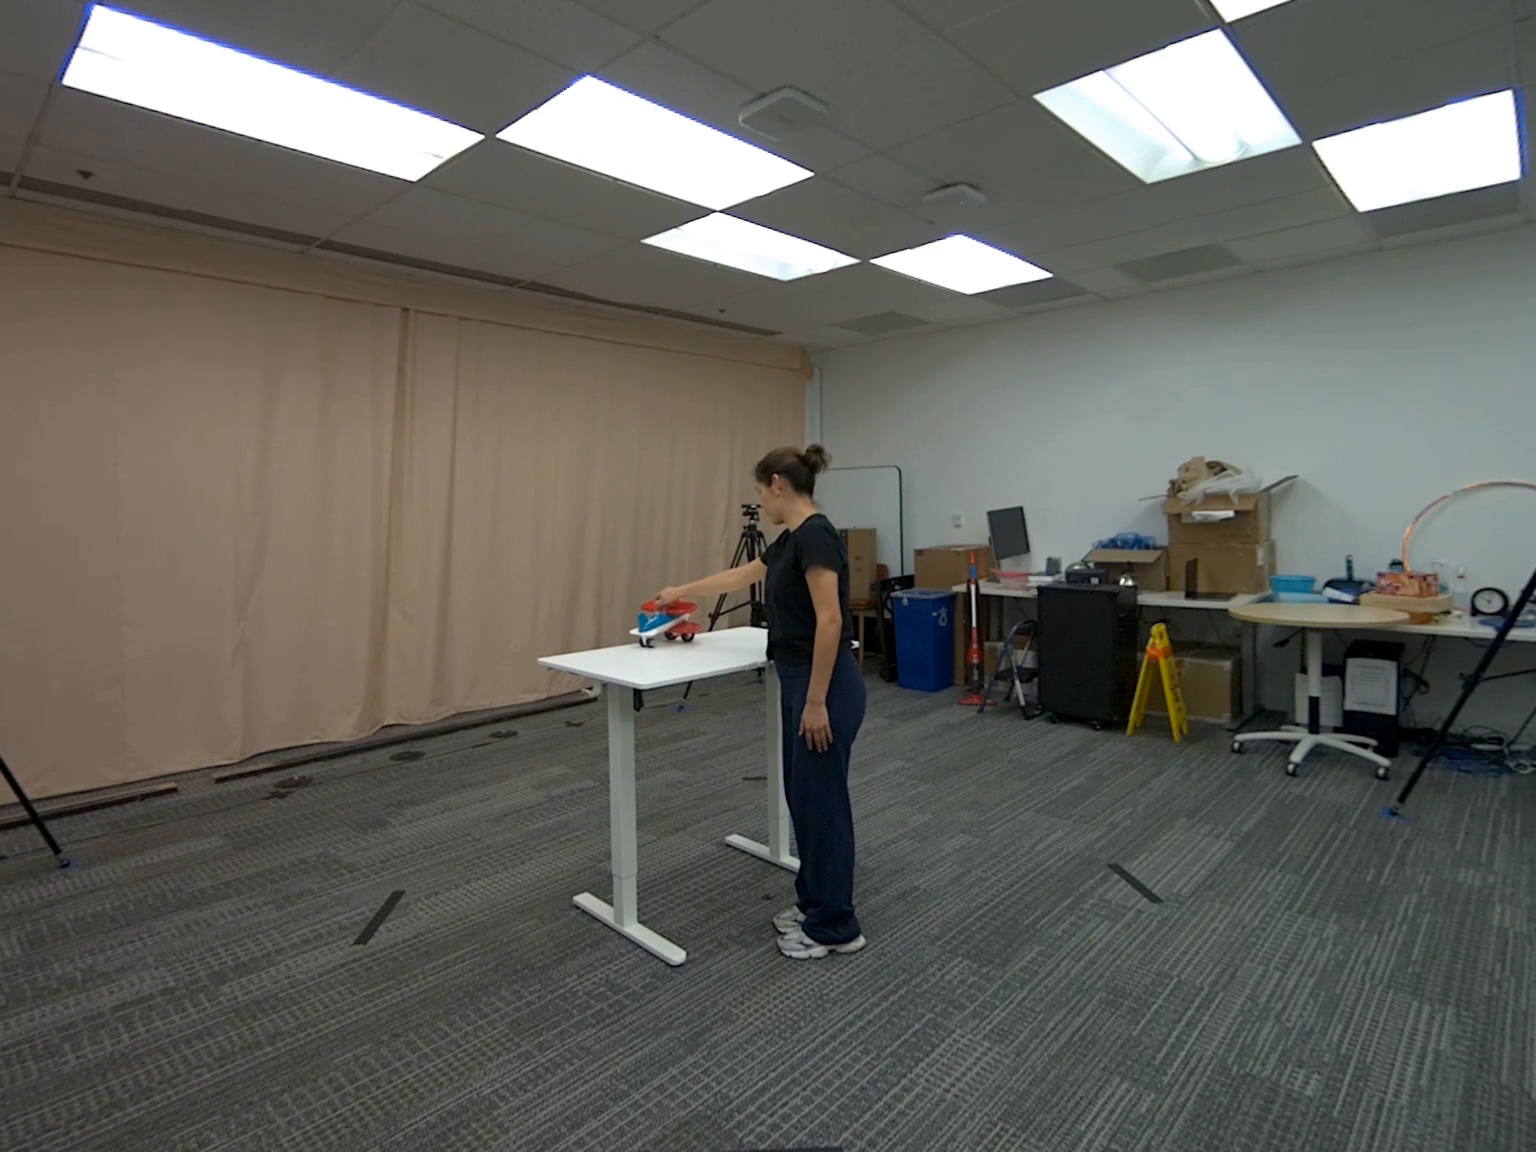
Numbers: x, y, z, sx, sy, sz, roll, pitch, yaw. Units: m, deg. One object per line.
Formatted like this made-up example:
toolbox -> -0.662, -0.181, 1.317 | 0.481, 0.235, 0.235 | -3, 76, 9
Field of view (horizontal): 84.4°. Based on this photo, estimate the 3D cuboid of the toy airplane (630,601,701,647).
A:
toy airplane -> -0.353, 0.177, 3.117 | 0.254, 0.156, 0.257 | 0, 3, 9
